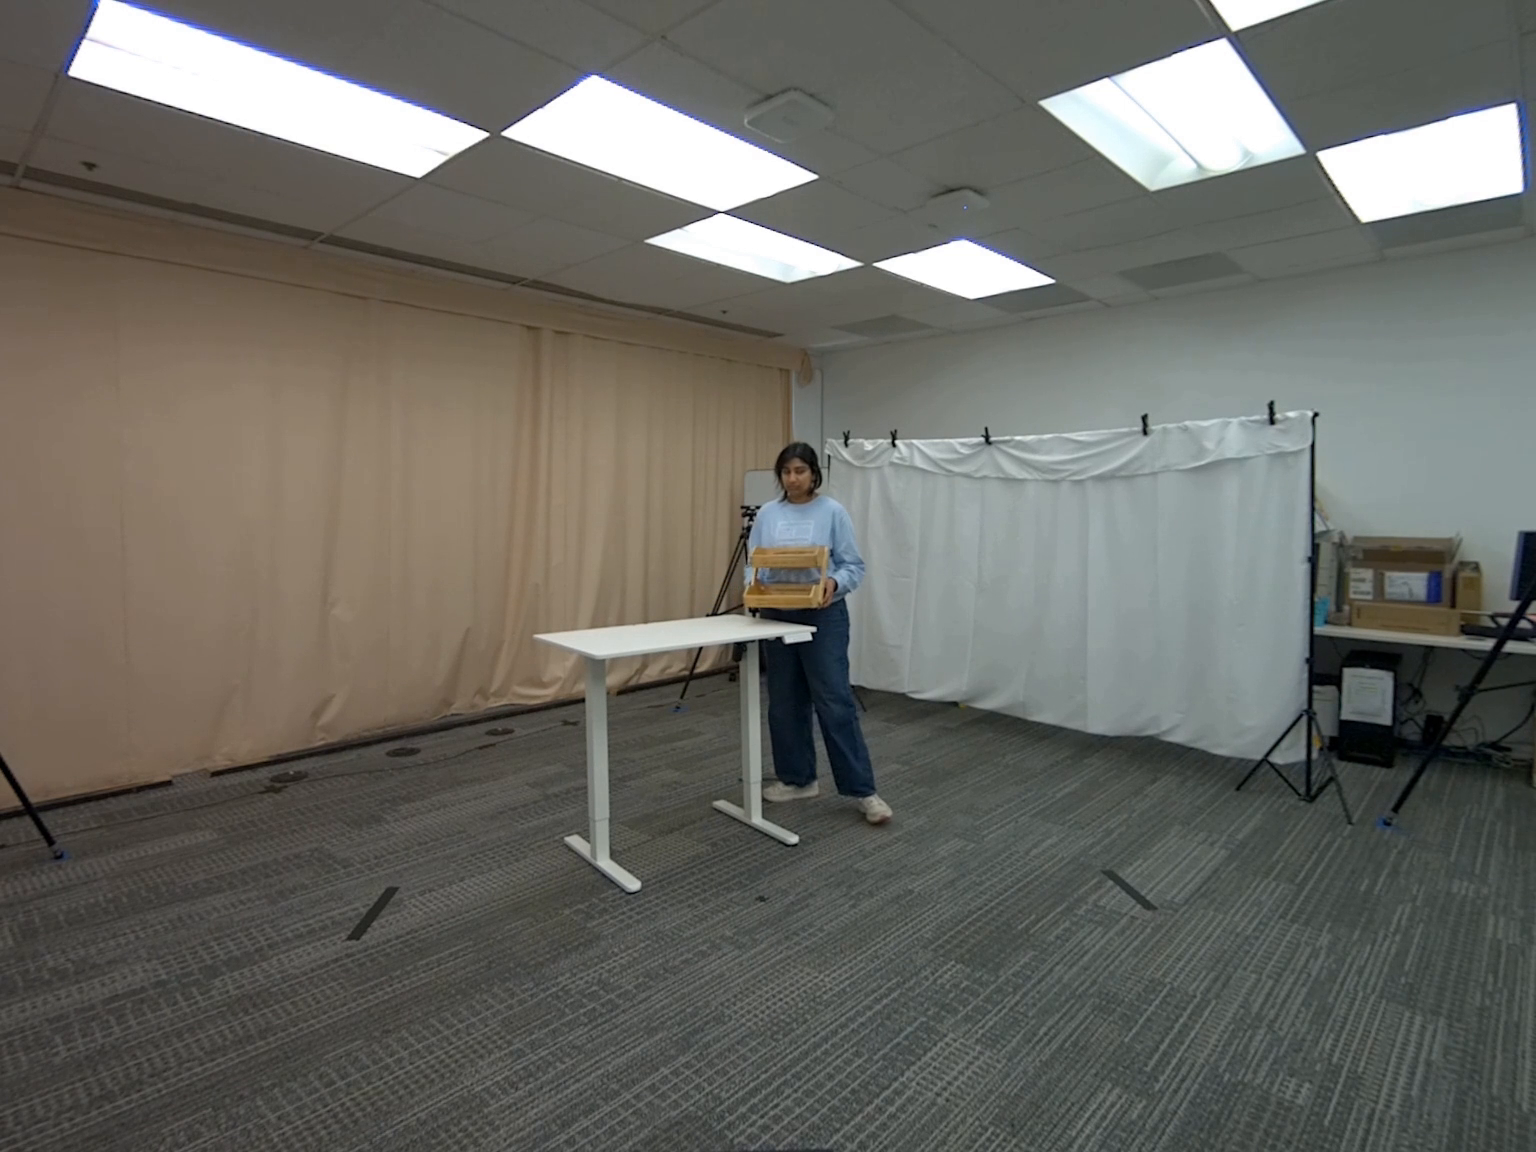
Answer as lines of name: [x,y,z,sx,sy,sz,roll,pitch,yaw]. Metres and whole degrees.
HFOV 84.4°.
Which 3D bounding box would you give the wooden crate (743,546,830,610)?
wooden crate: [0.094,-0.002,3.665,0.331,0.273,0.295,-2,-1,20]
